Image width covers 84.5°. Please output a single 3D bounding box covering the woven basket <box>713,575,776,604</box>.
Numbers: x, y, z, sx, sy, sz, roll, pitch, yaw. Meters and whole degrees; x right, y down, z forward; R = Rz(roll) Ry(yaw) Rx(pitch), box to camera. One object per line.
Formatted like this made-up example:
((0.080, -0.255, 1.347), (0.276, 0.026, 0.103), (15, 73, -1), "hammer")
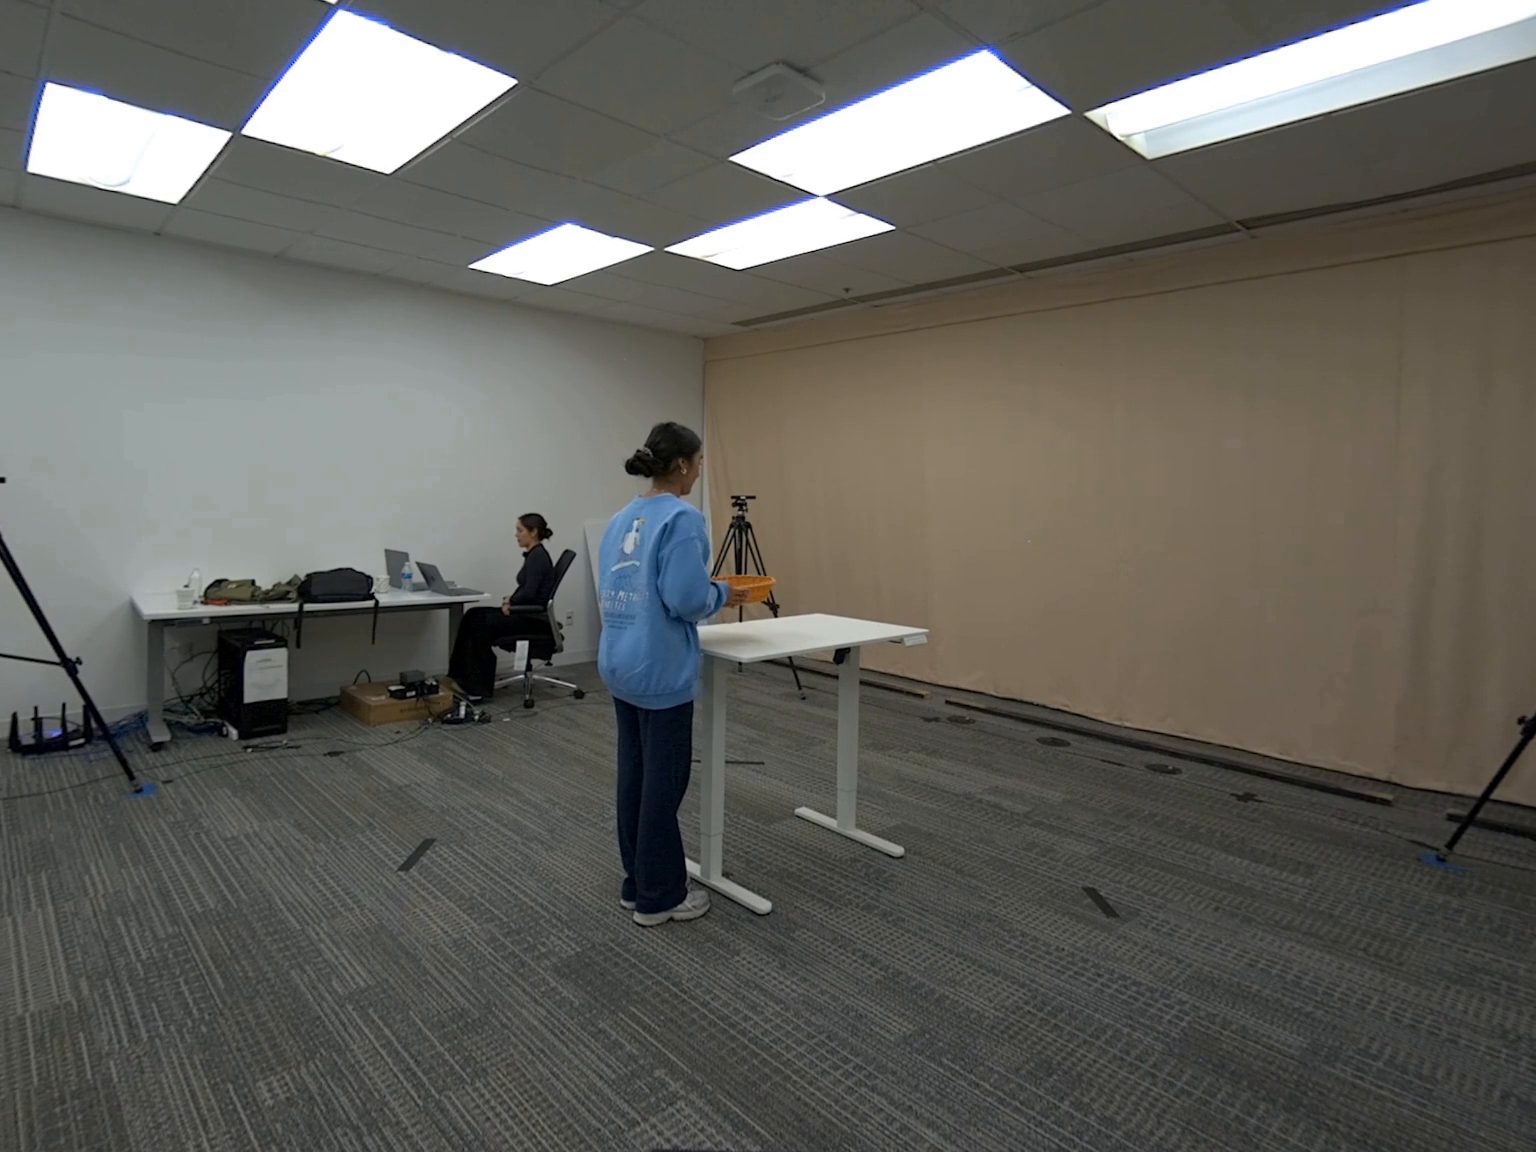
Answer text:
((-0.137, 0.059, 3.067), (0.346, 0.073, 0.256), (-2, 9, -14), "woven basket")
